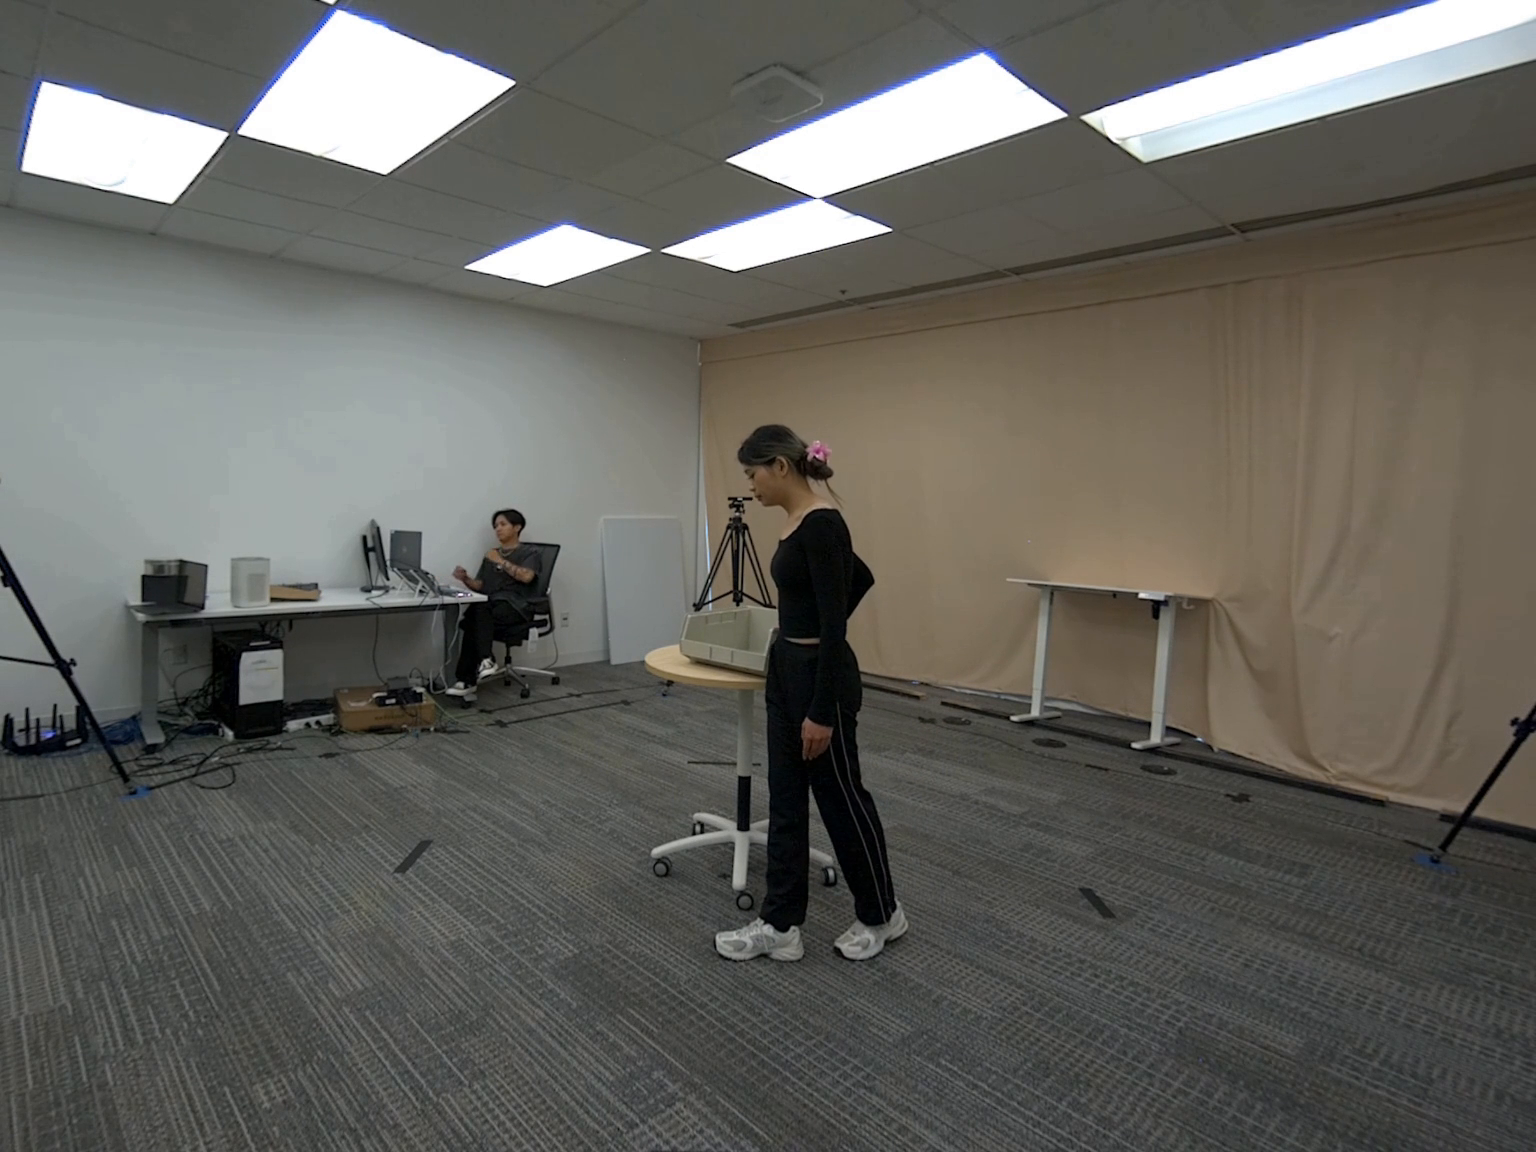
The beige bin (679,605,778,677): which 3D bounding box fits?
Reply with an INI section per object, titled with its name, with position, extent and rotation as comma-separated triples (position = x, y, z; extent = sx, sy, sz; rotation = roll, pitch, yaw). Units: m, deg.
[beige bin]
position = -0.049, 0.232, 3.031
extent = 0.433, 0.189, 0.368
rotation = 5, 4, 41
